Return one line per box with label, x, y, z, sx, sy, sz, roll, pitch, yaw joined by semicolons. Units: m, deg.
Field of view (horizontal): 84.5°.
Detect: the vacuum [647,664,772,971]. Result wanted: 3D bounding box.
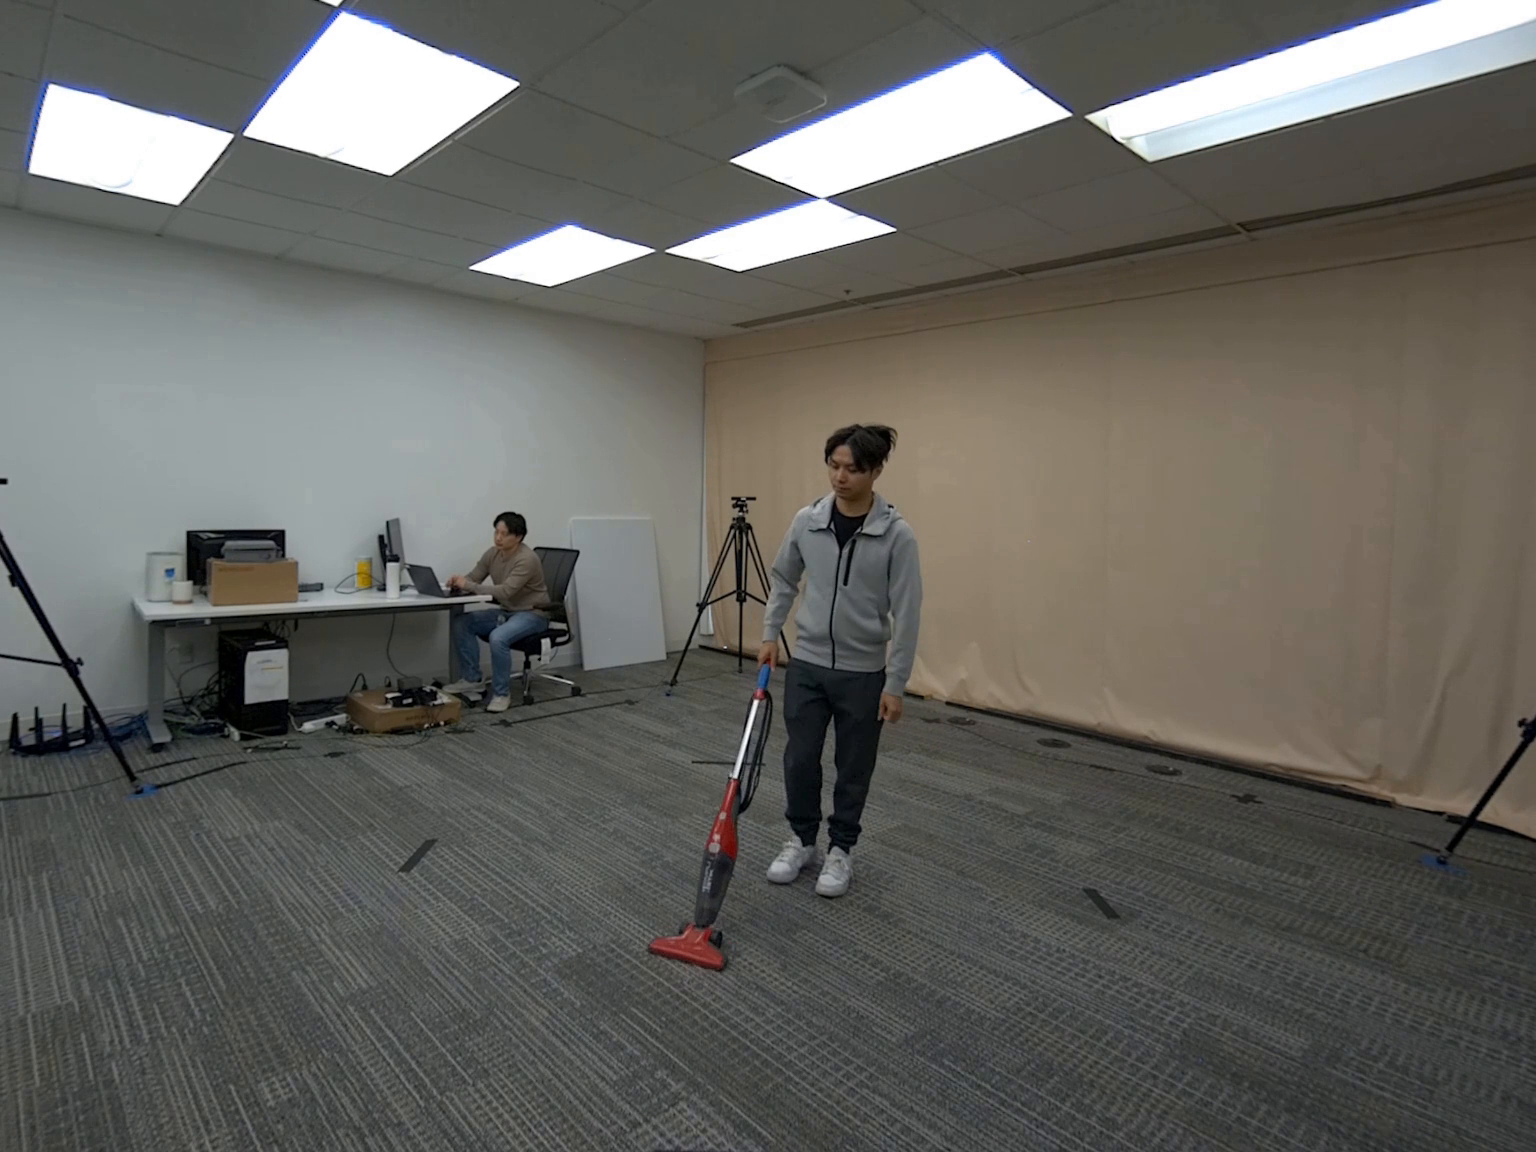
vacuum;-0.111;0.721;2.838;0.257;1.062;0.139;1;-35;25
